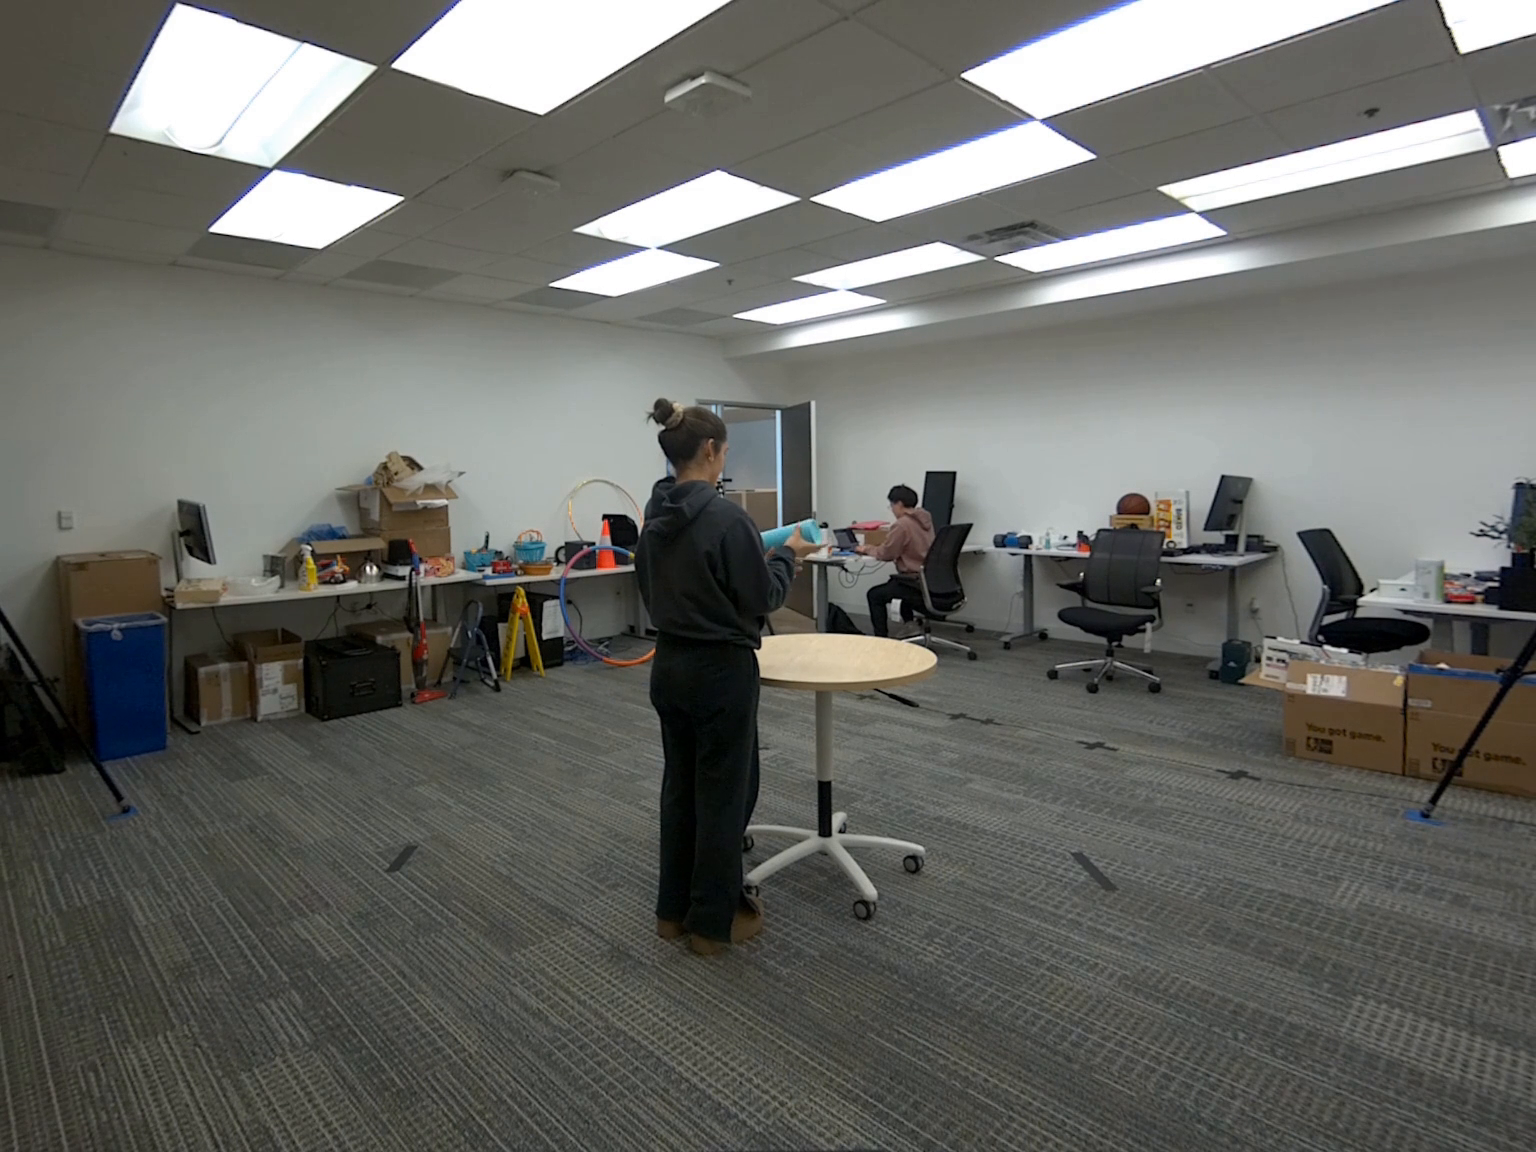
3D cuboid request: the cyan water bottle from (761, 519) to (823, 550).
[{"bbox_3d":[0.035,-0.109,2.721,0.288,0.092,0.090,-14,-1,24],"label":"cyan water bottle"}]
